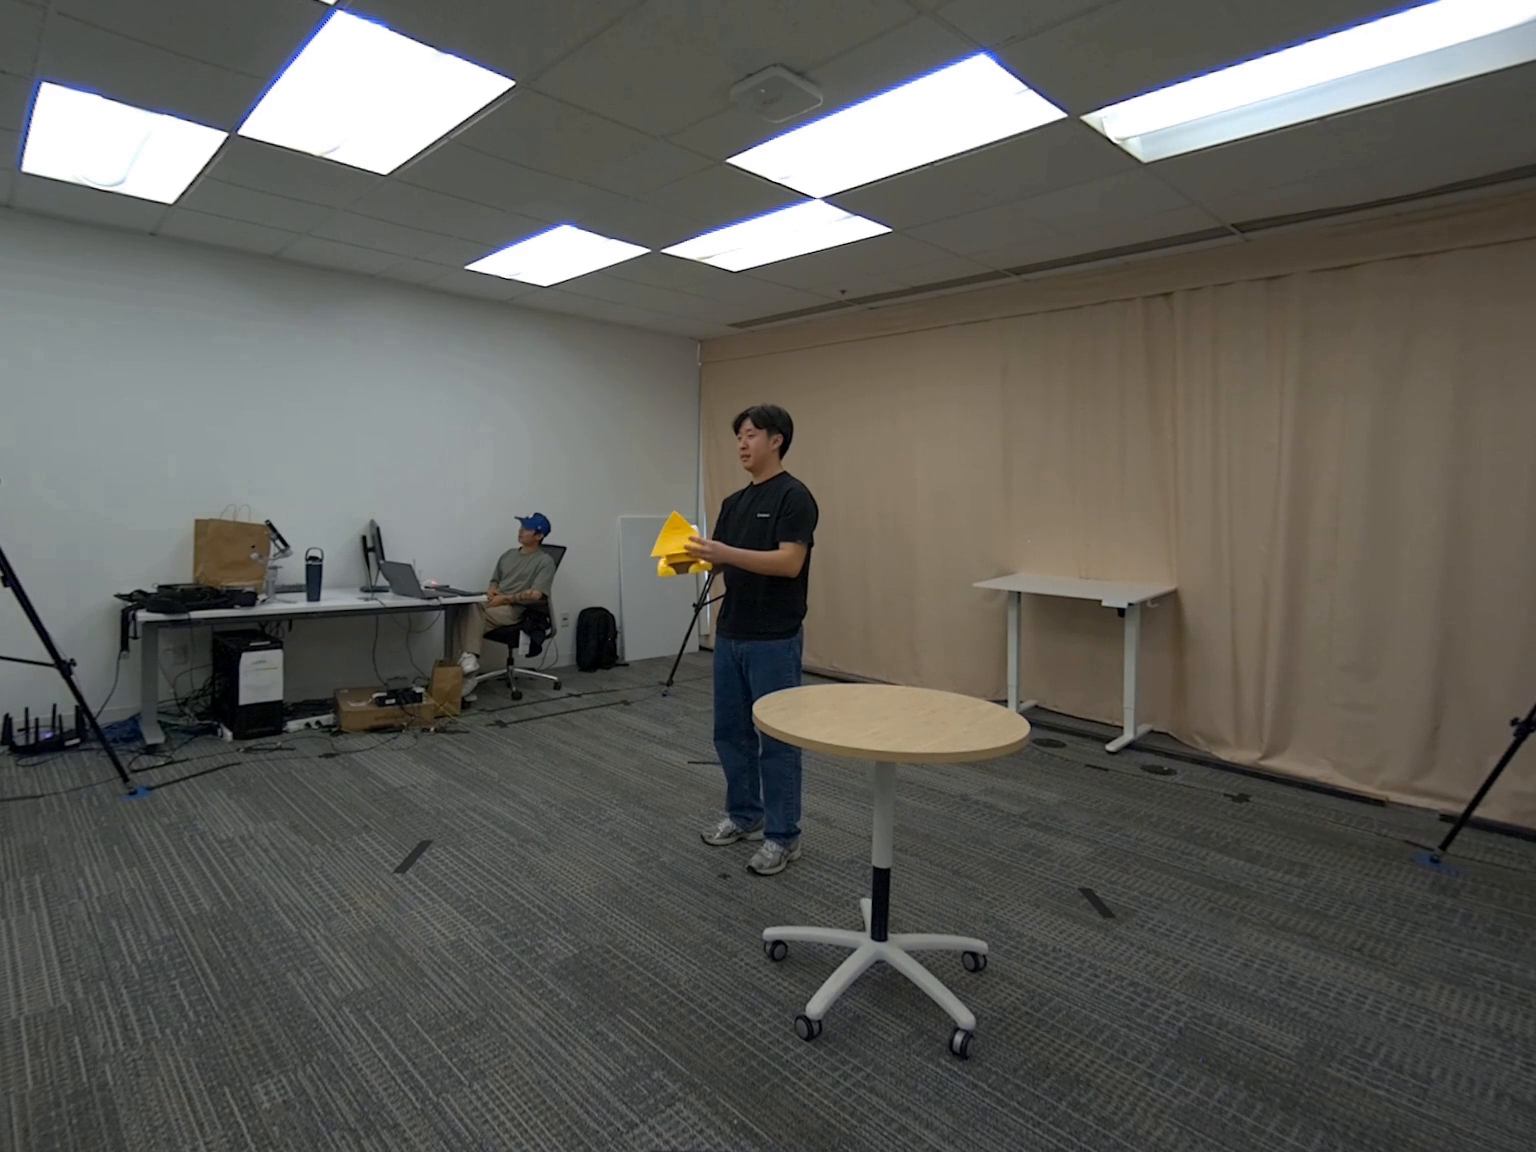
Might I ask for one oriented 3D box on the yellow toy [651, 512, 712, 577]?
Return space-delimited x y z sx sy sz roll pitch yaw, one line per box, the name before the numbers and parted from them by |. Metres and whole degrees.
yellow toy | -0.321 -0.130 3.080 0.205 0.229 0.194 -7 9 4
